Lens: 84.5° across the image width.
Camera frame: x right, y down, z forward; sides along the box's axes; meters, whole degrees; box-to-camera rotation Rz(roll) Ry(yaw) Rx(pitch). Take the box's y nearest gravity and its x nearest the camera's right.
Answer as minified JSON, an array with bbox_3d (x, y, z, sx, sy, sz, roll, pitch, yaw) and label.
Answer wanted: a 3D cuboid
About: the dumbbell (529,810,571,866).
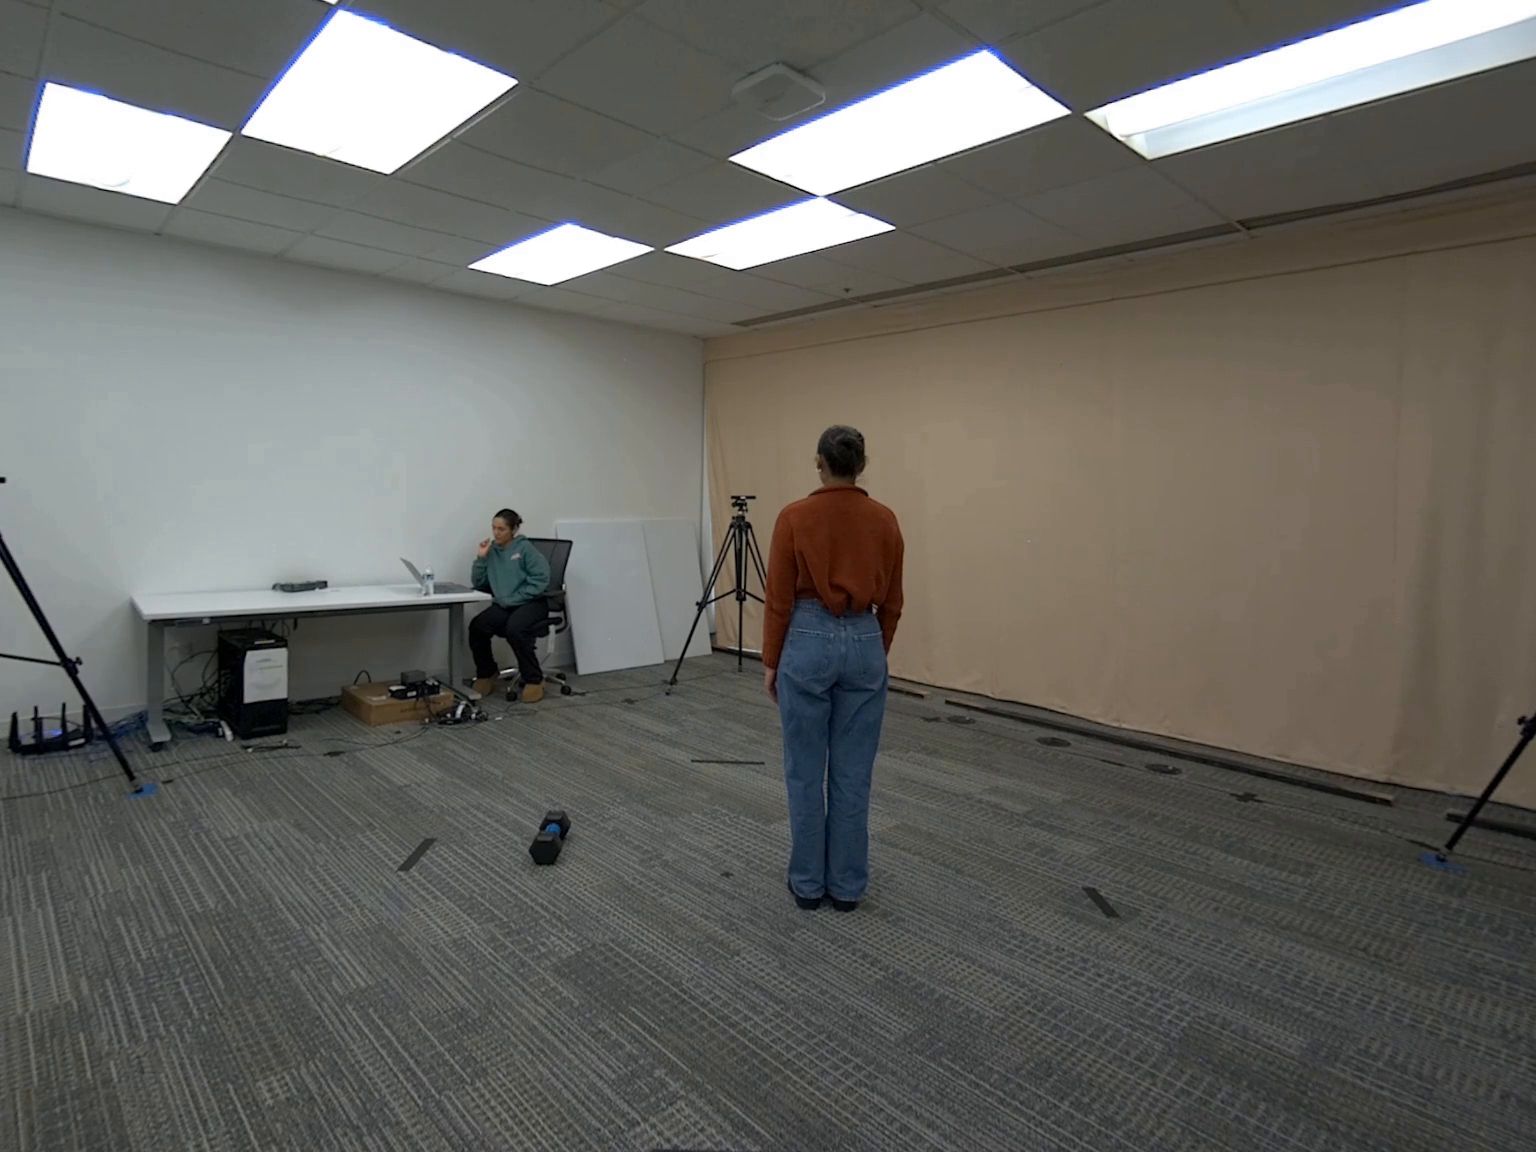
[{"bbox_3d":[-0.859,1.019,3.286,0.108,0.123,0.294,30,4,-4],"label":"dumbbell"}]
